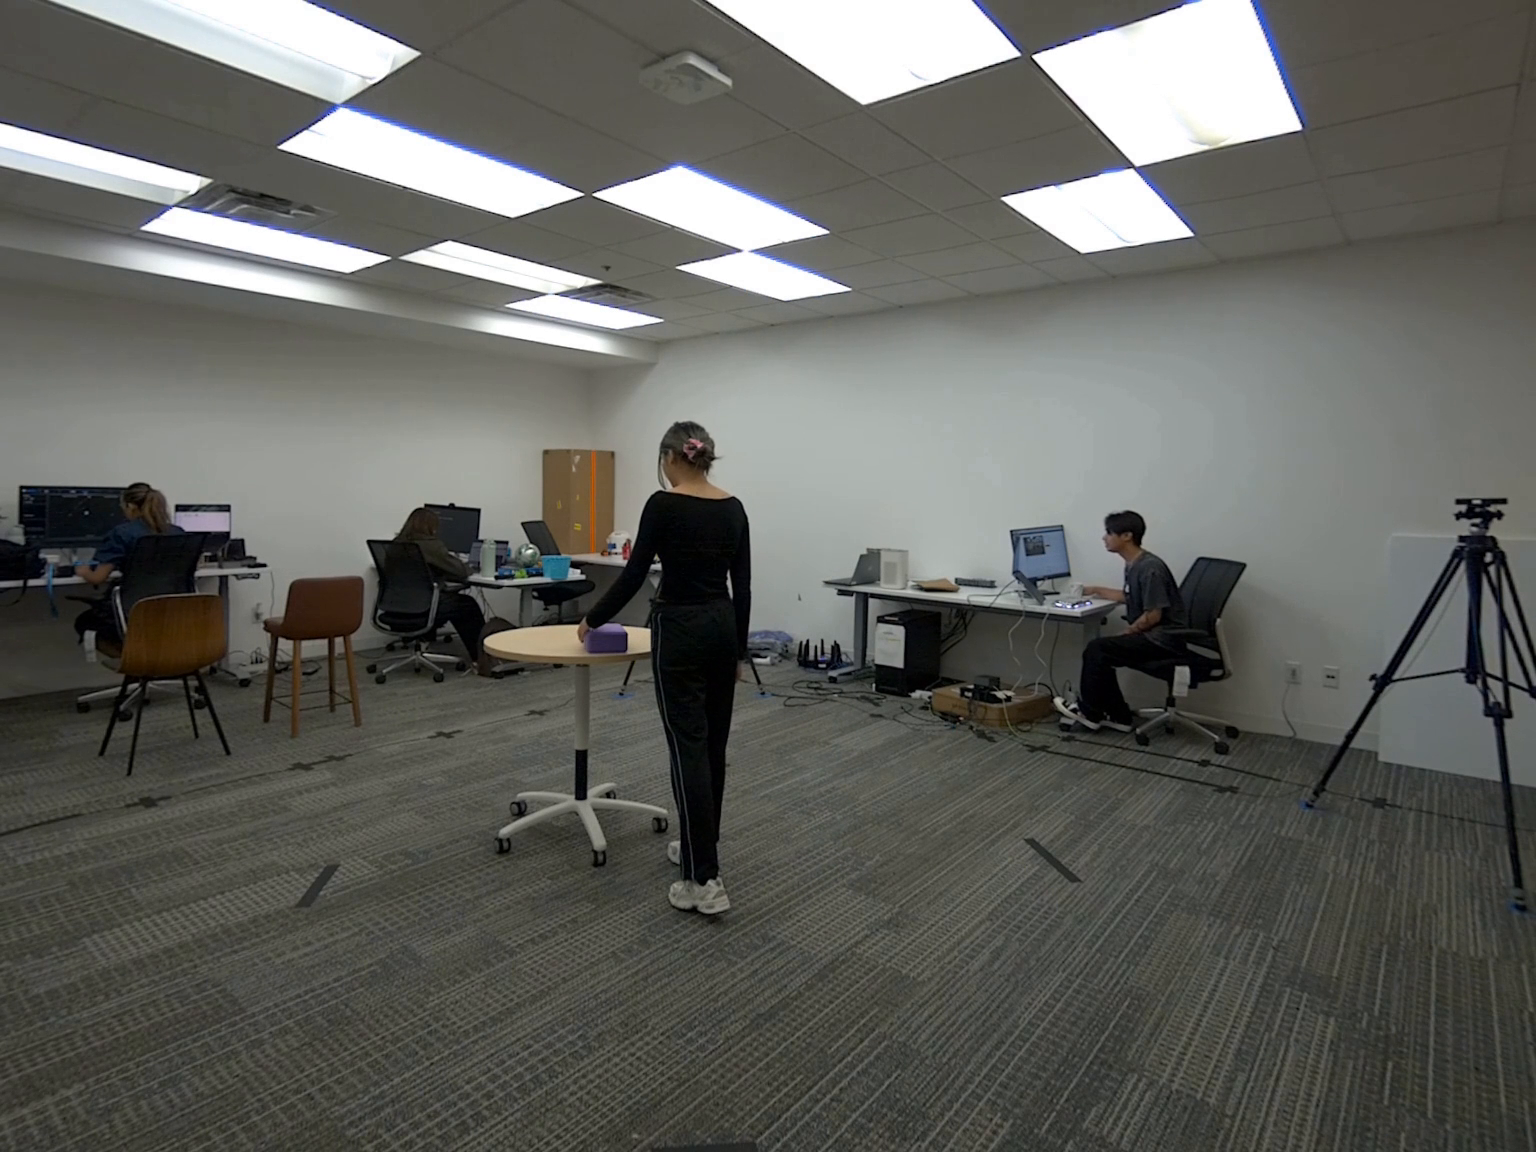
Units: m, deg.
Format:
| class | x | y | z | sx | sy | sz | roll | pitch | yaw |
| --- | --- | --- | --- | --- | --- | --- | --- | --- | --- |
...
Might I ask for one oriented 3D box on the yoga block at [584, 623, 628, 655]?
| class | x | y | z | sx | sy | sz | roll | pitch | yaw |
| --- | --- | --- | --- | --- | --- | --- | --- | --- | --- |
| yoga block | -0.627 | 0.228 | 3.199 | 0.147 | 0.076 | 0.233 | 0 | 5 | -12 |
